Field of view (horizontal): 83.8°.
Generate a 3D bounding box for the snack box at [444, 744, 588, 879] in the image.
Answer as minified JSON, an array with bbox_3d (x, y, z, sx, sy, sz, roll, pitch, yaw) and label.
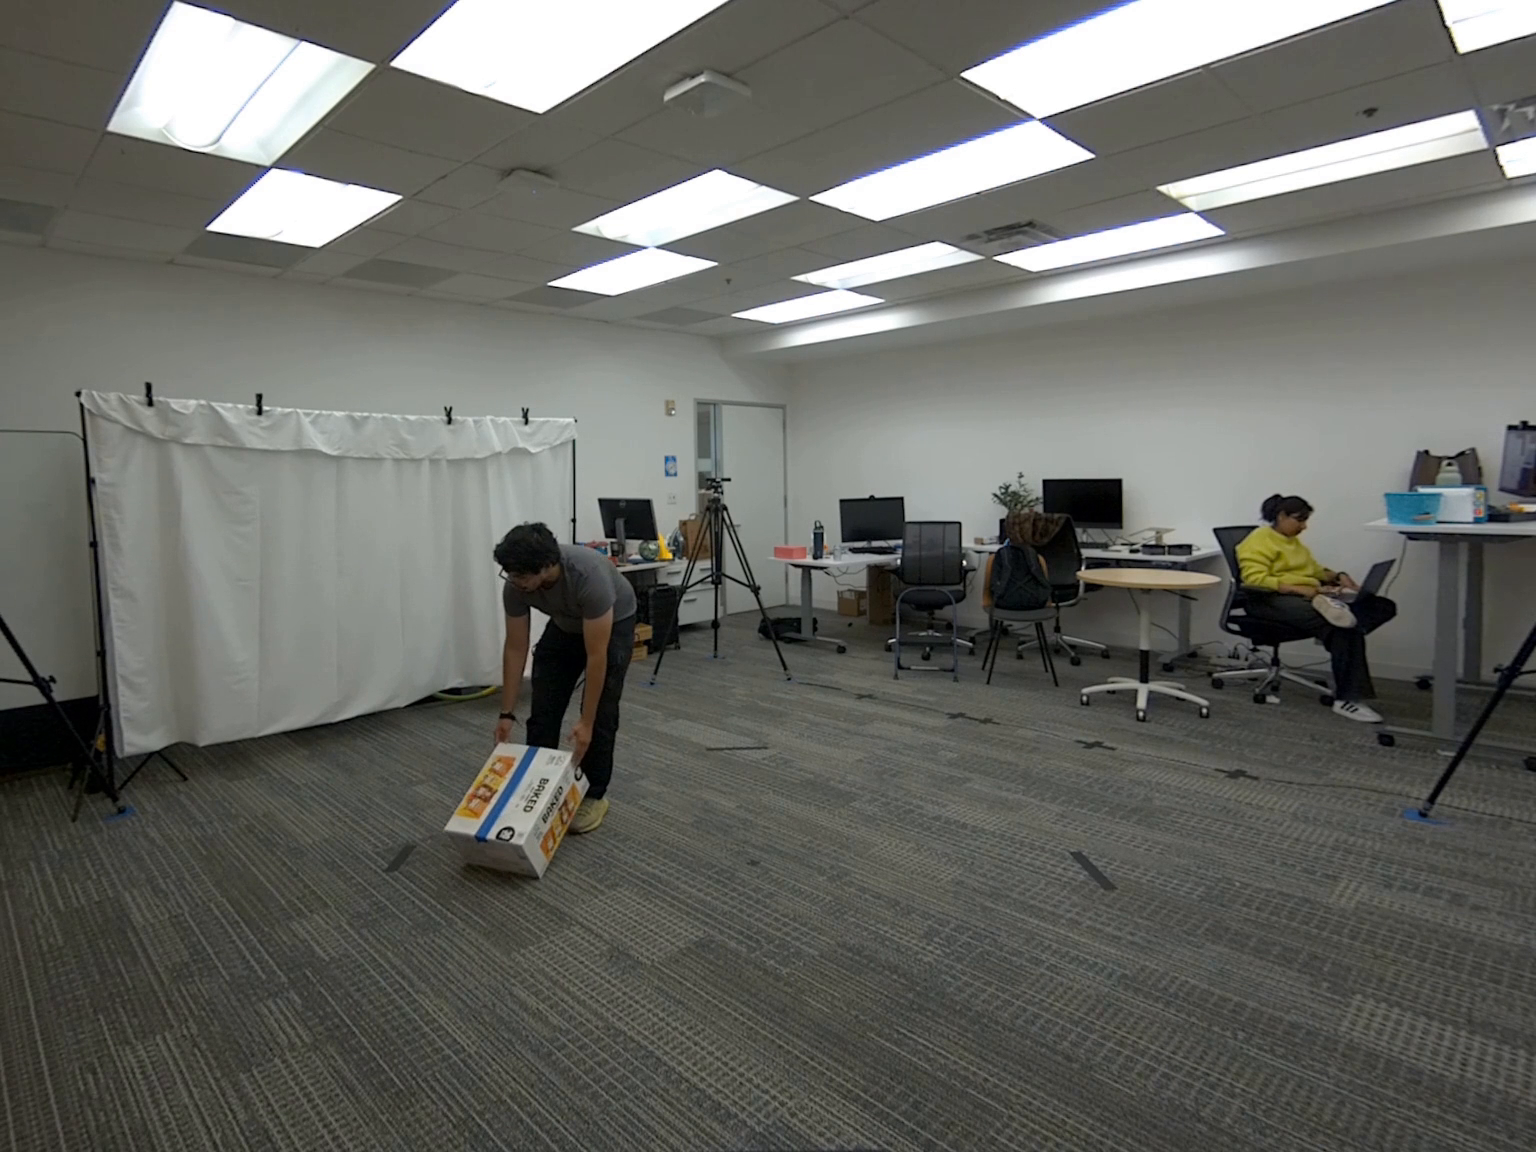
[{"bbox_3d":[-0.927,0.862,3.177,0.347,0.199,0.410,1,40,21],"label":"snack box"}]
